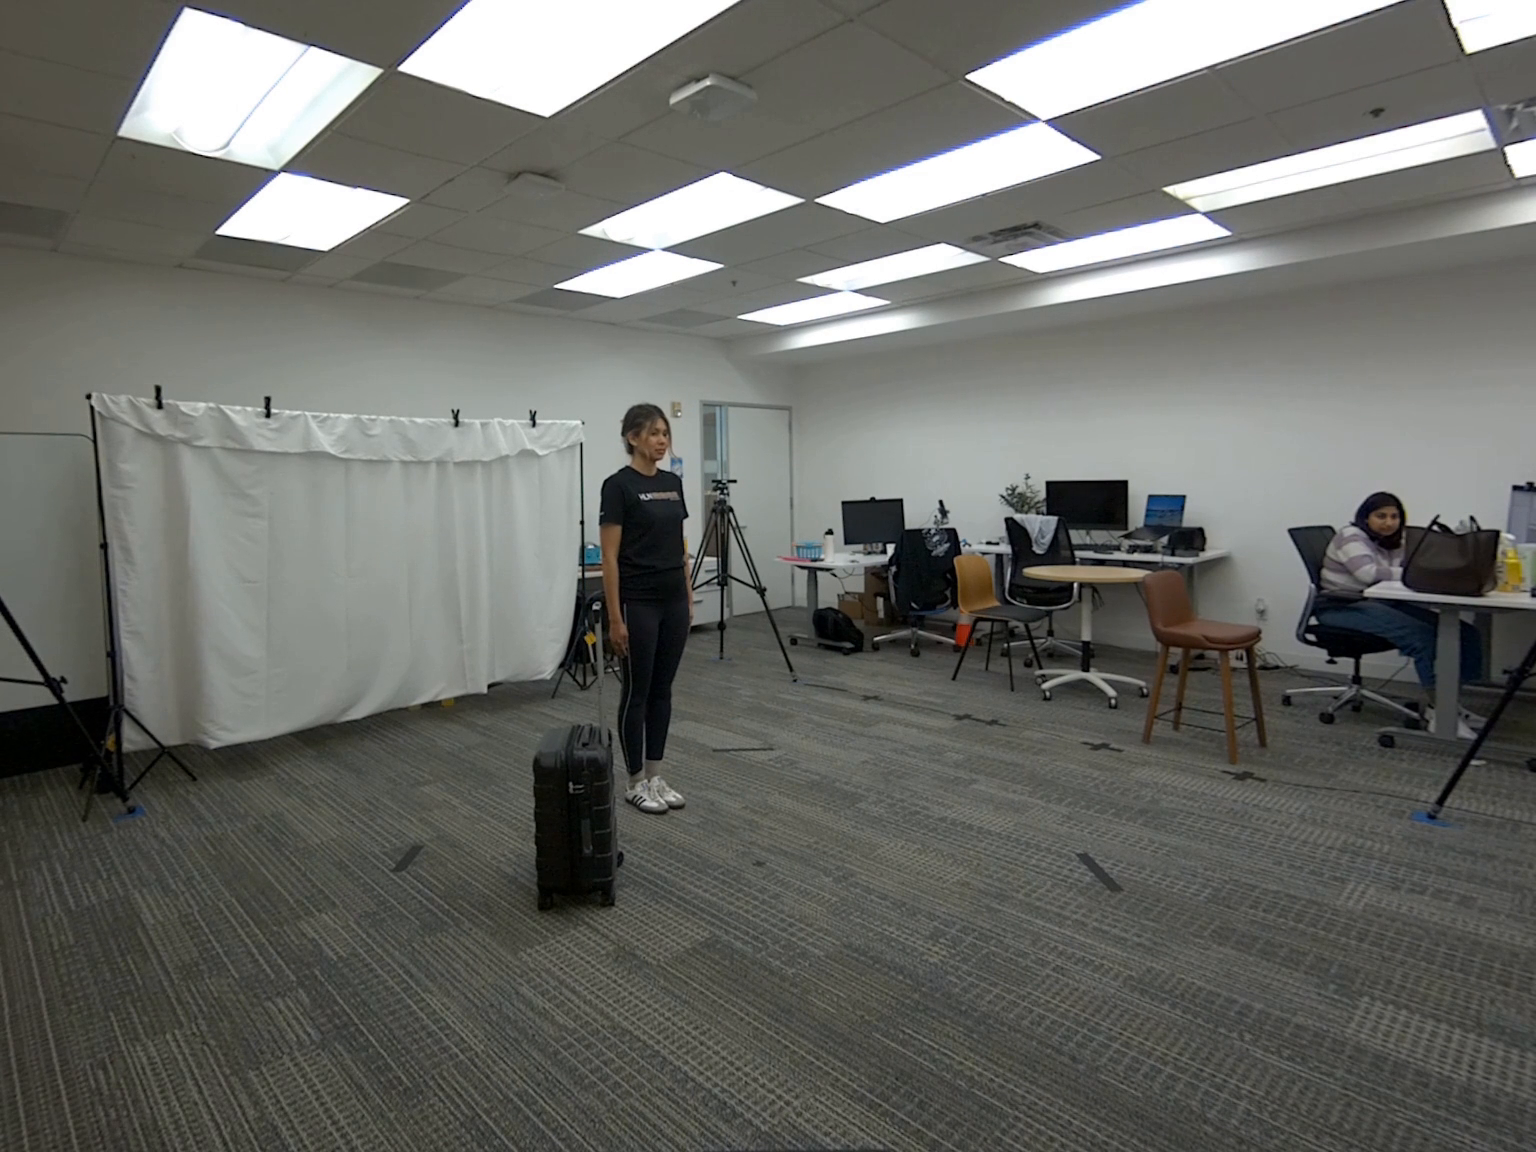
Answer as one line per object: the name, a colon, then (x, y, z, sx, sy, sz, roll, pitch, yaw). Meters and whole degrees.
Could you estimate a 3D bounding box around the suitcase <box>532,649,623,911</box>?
suitcase: (-0.658, 0.609, 2.913, 0.256, 0.974, 0.387, -3, 5, -6)
